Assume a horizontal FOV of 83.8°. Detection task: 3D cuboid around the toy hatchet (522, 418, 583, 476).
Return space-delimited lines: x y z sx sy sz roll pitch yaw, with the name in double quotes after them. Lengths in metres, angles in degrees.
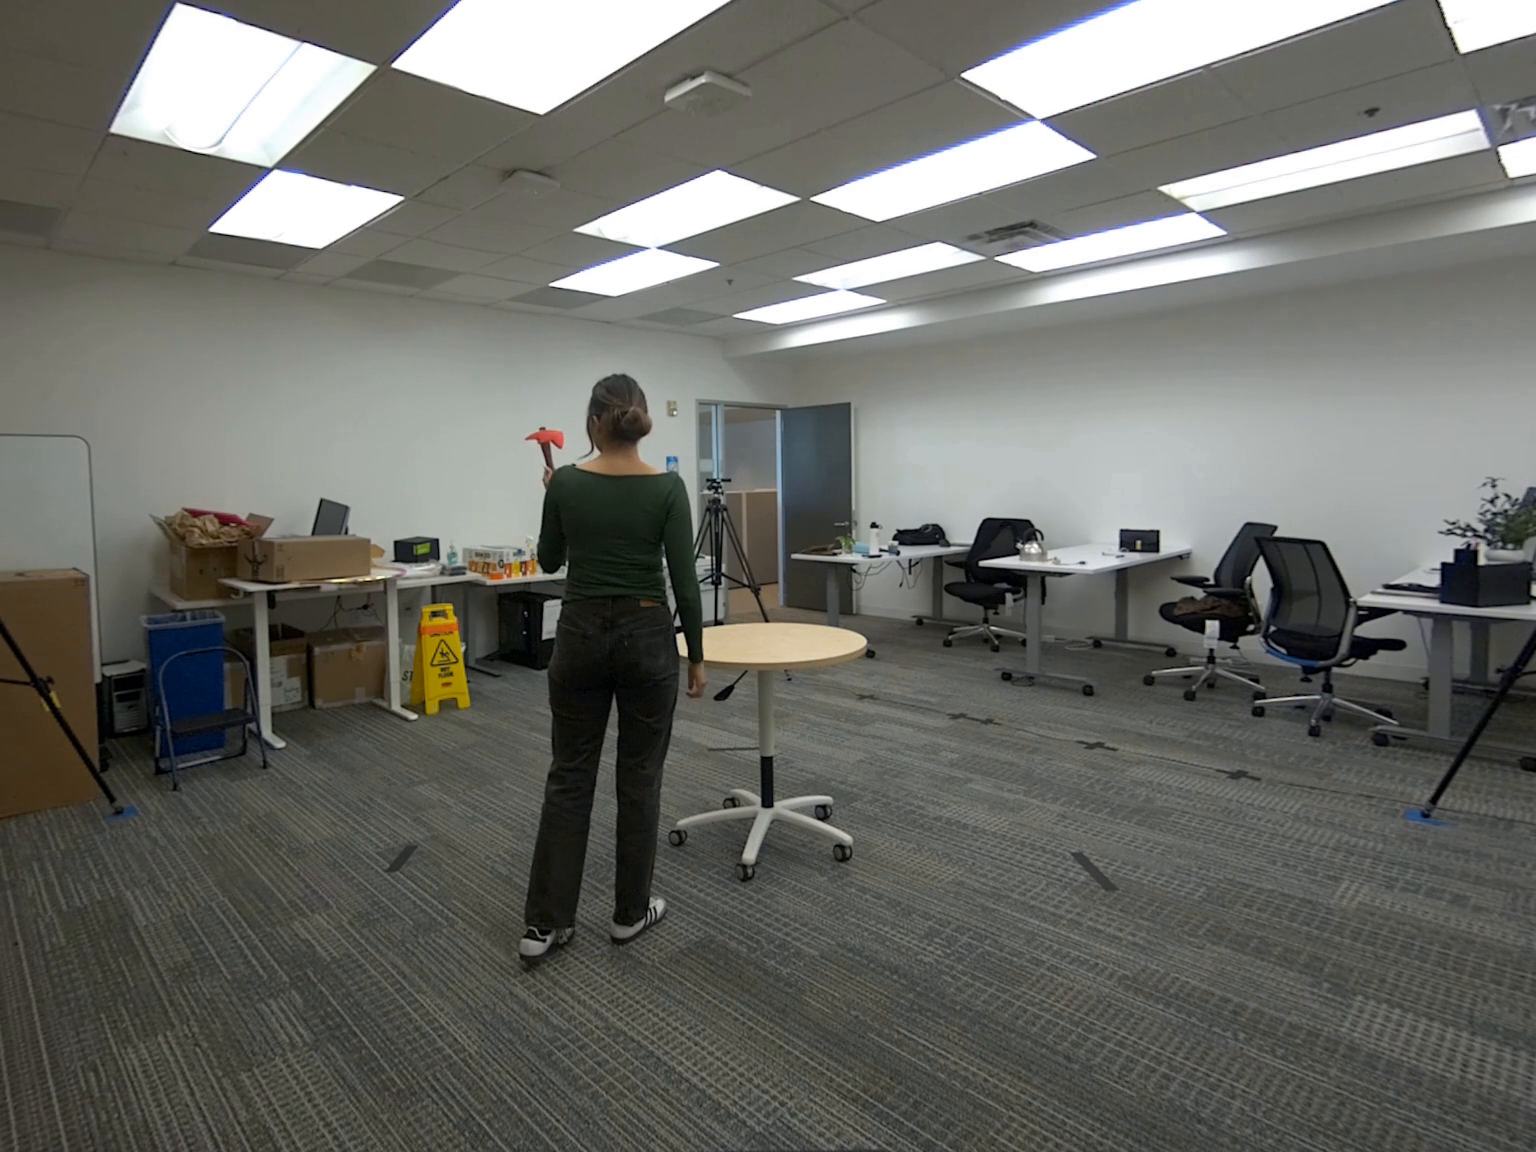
-0.705 -0.383 2.891 0.130 0.266 0.030 -36 13 -35 "toy hatchet"
